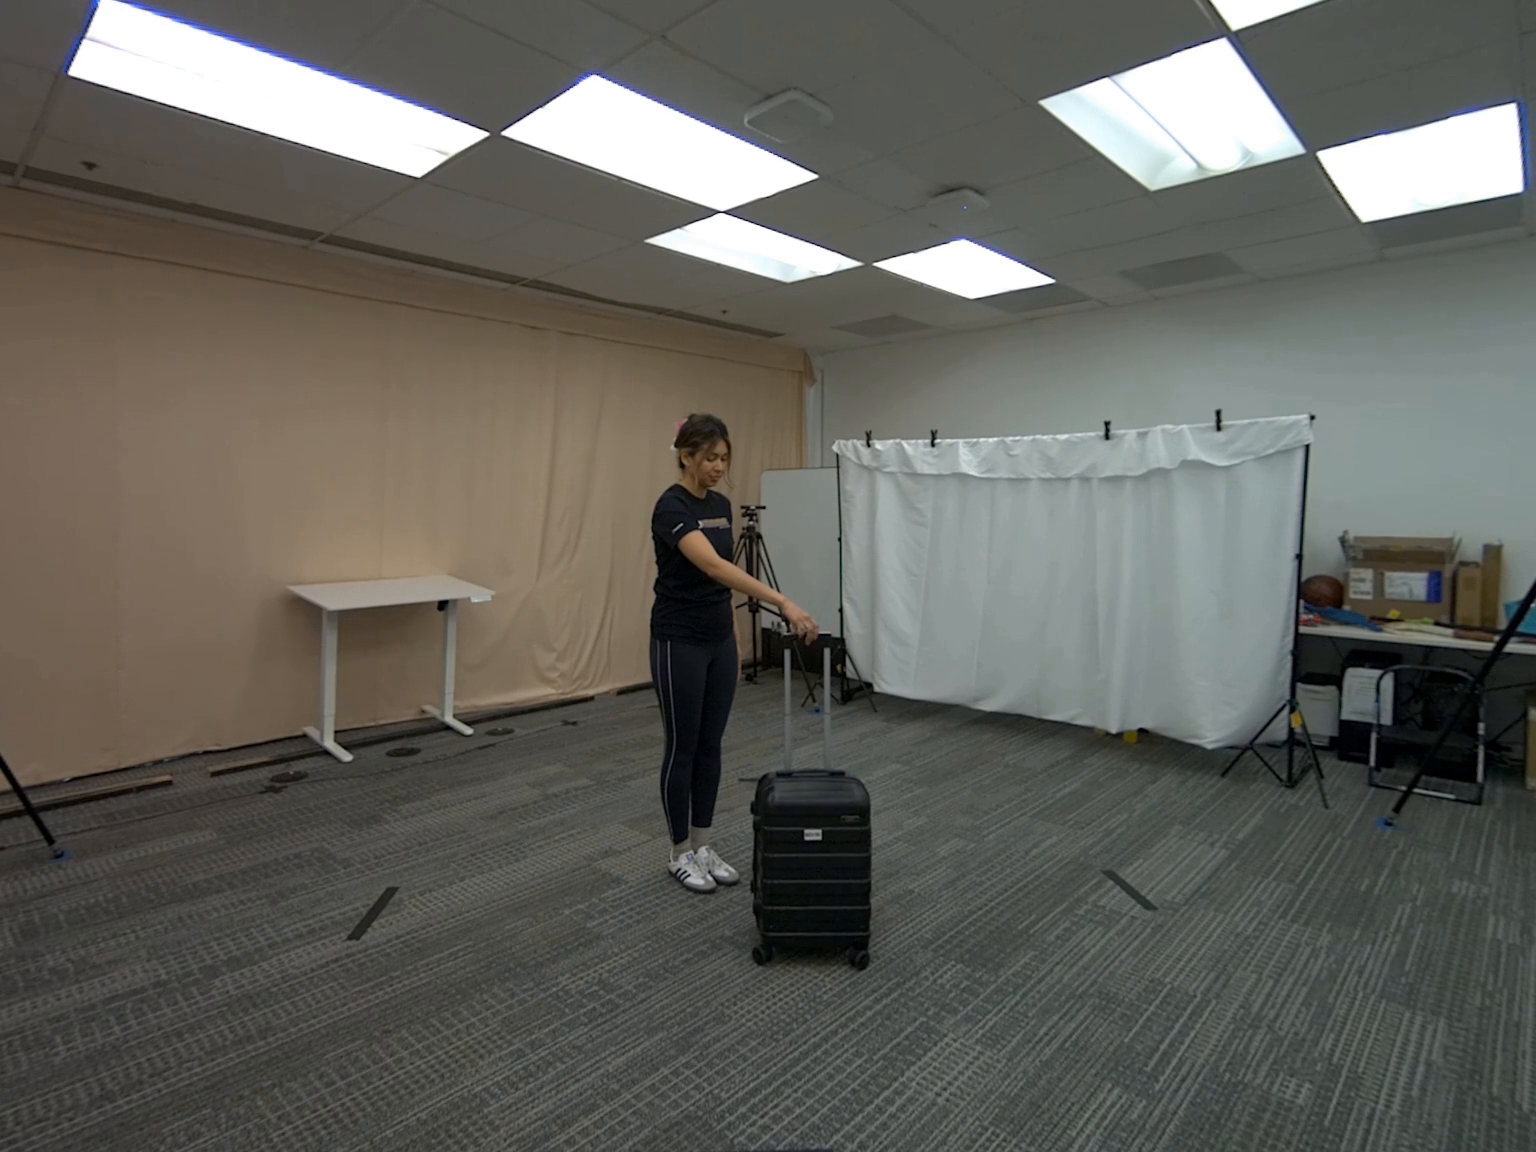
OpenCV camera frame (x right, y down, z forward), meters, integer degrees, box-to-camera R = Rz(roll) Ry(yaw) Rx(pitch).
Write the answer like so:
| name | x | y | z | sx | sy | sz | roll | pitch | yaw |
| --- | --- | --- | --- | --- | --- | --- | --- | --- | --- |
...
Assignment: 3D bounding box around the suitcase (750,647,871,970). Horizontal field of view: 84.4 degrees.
| name | x | y | z | sx | sy | sz | roll | pitch | yaw |
| --- | --- | --- | --- | --- | --- | --- | --- | --- | --- |
| suitcase | 0.143 | 0.698 | 2.626 | 0.384 | 0.976 | 0.258 | 0 | 3 | -1 |
